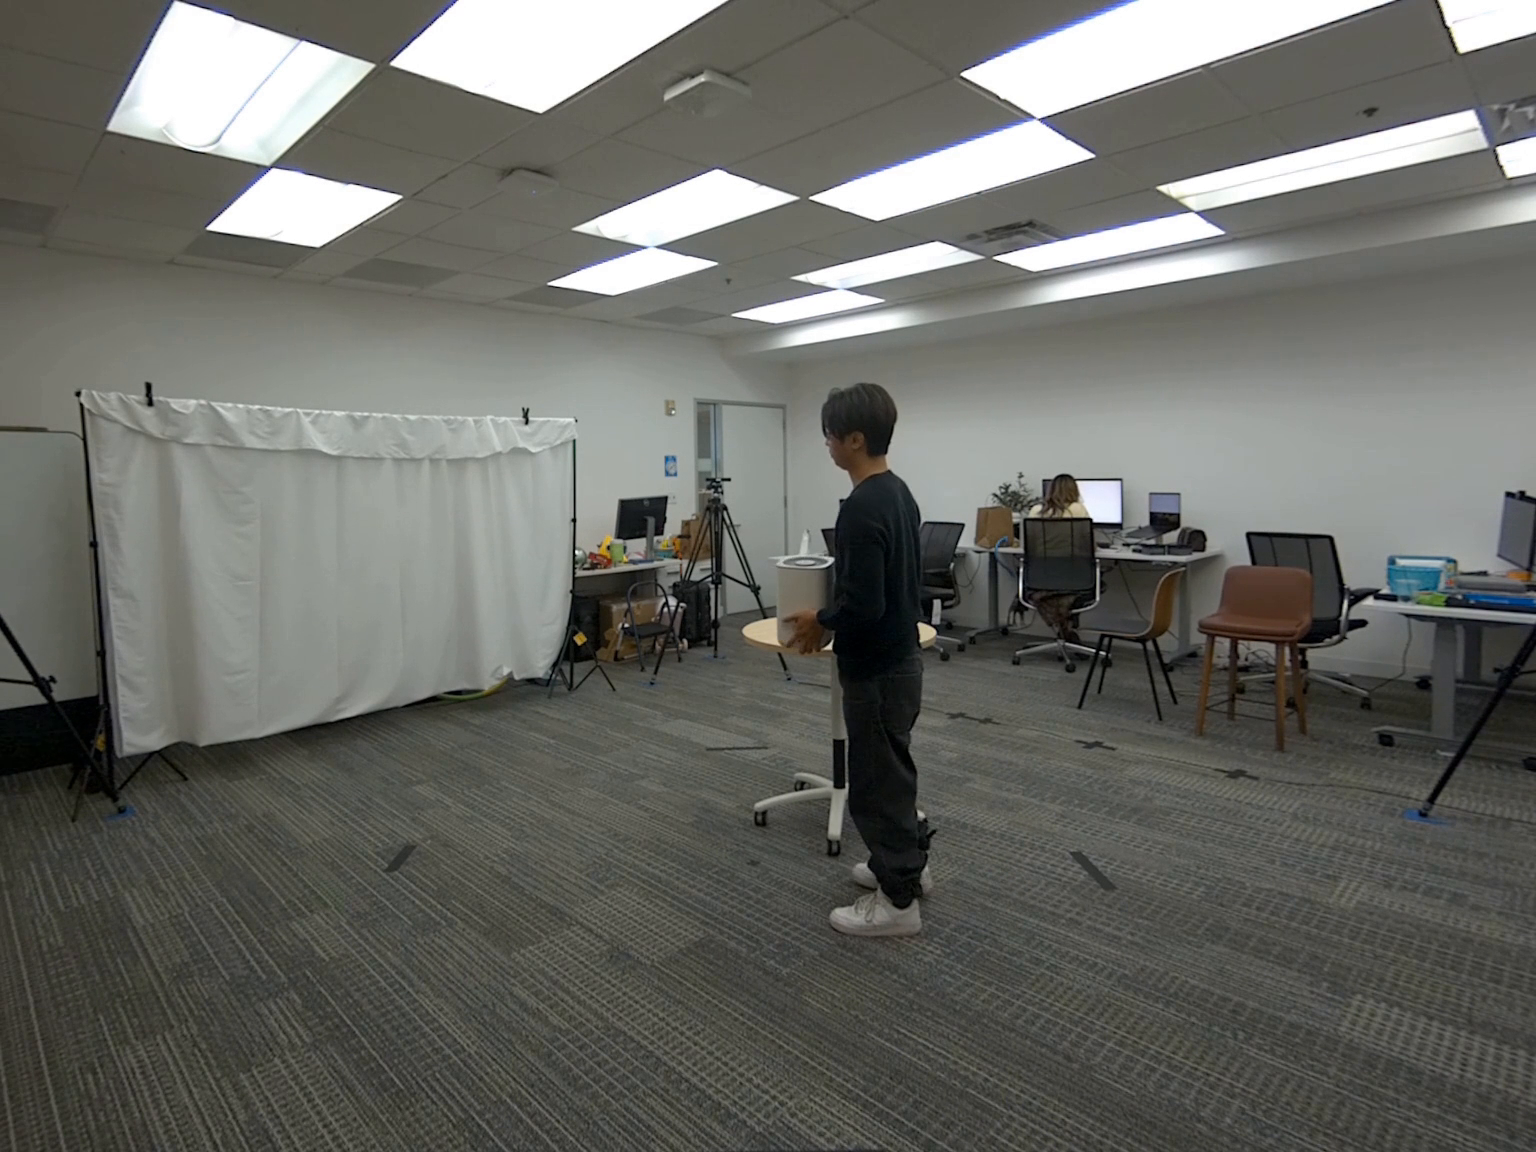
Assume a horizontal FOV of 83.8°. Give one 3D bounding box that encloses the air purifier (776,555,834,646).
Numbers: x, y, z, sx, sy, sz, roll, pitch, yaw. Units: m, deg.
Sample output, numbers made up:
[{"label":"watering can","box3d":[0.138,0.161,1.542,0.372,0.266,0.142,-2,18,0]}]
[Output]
[{"label":"air purifier","box3d":[0.132,0.083,2.675,0.174,0.263,0.170,3,12,19]}]
